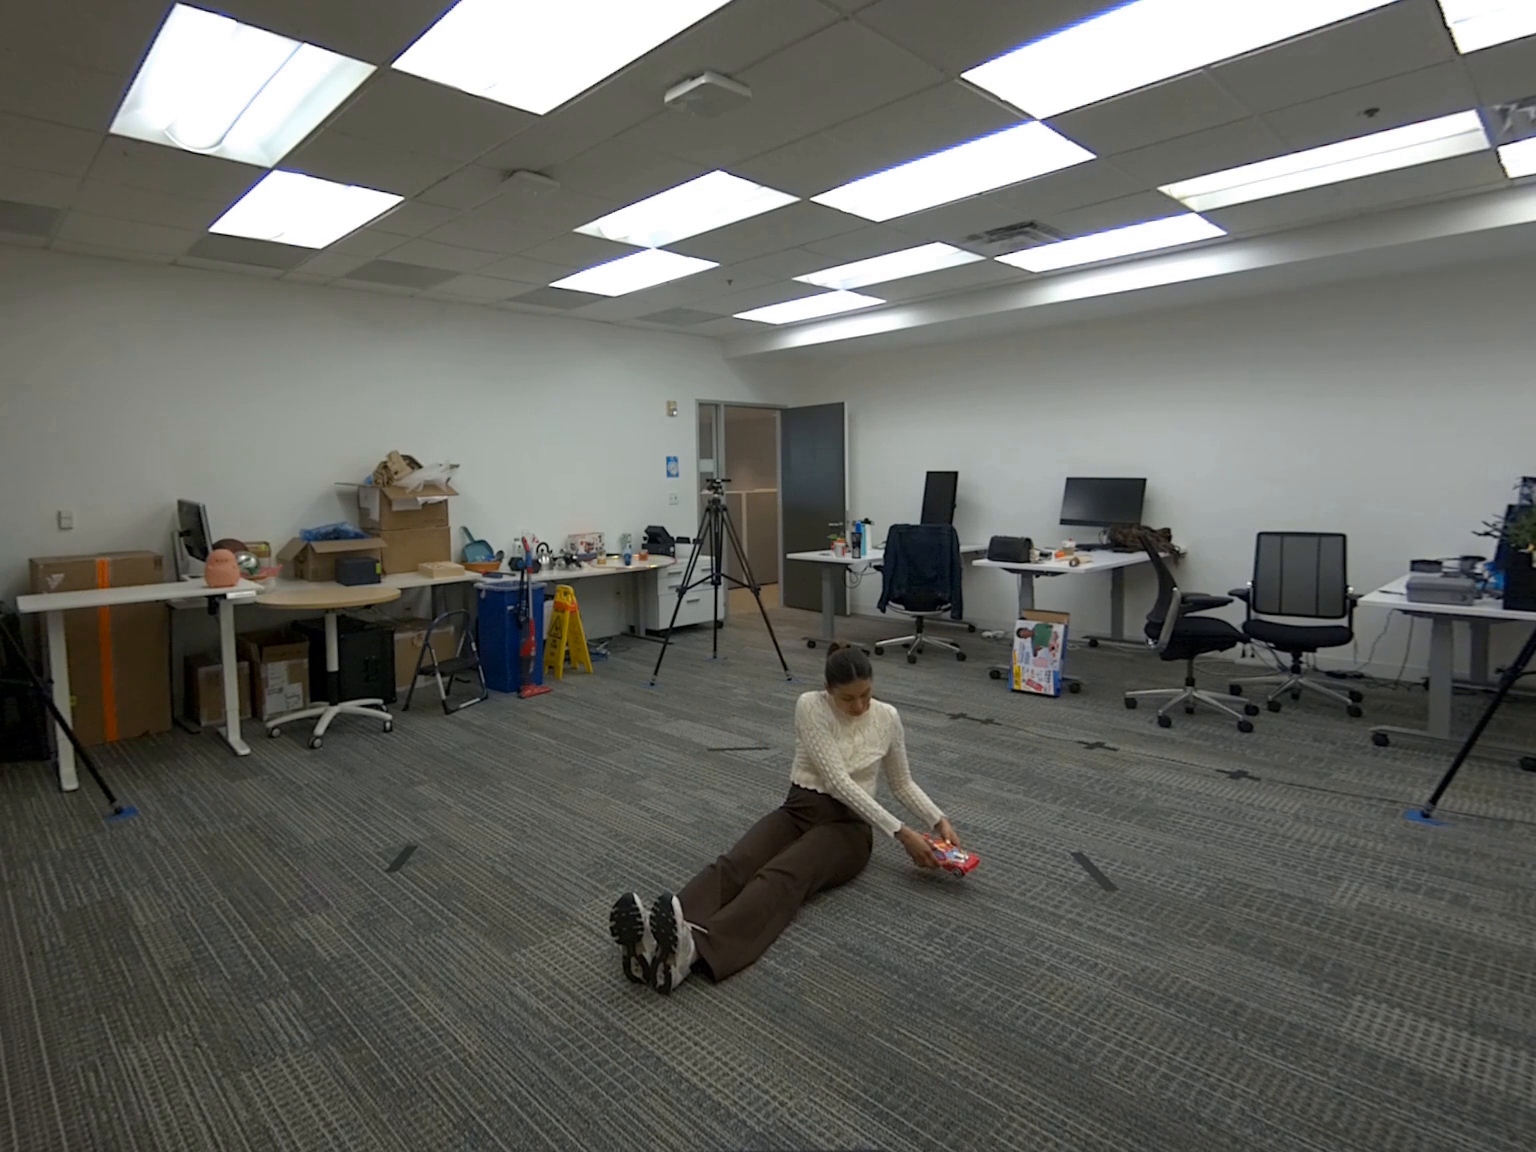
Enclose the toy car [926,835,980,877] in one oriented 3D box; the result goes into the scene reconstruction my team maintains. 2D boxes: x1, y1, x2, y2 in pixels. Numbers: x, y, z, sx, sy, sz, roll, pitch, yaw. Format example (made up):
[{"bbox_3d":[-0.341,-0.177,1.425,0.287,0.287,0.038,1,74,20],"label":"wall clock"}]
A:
[{"bbox_3d":[0.585,0.960,2.934,0.263,0.082,0.127,15,15,40],"label":"toy car"}]
